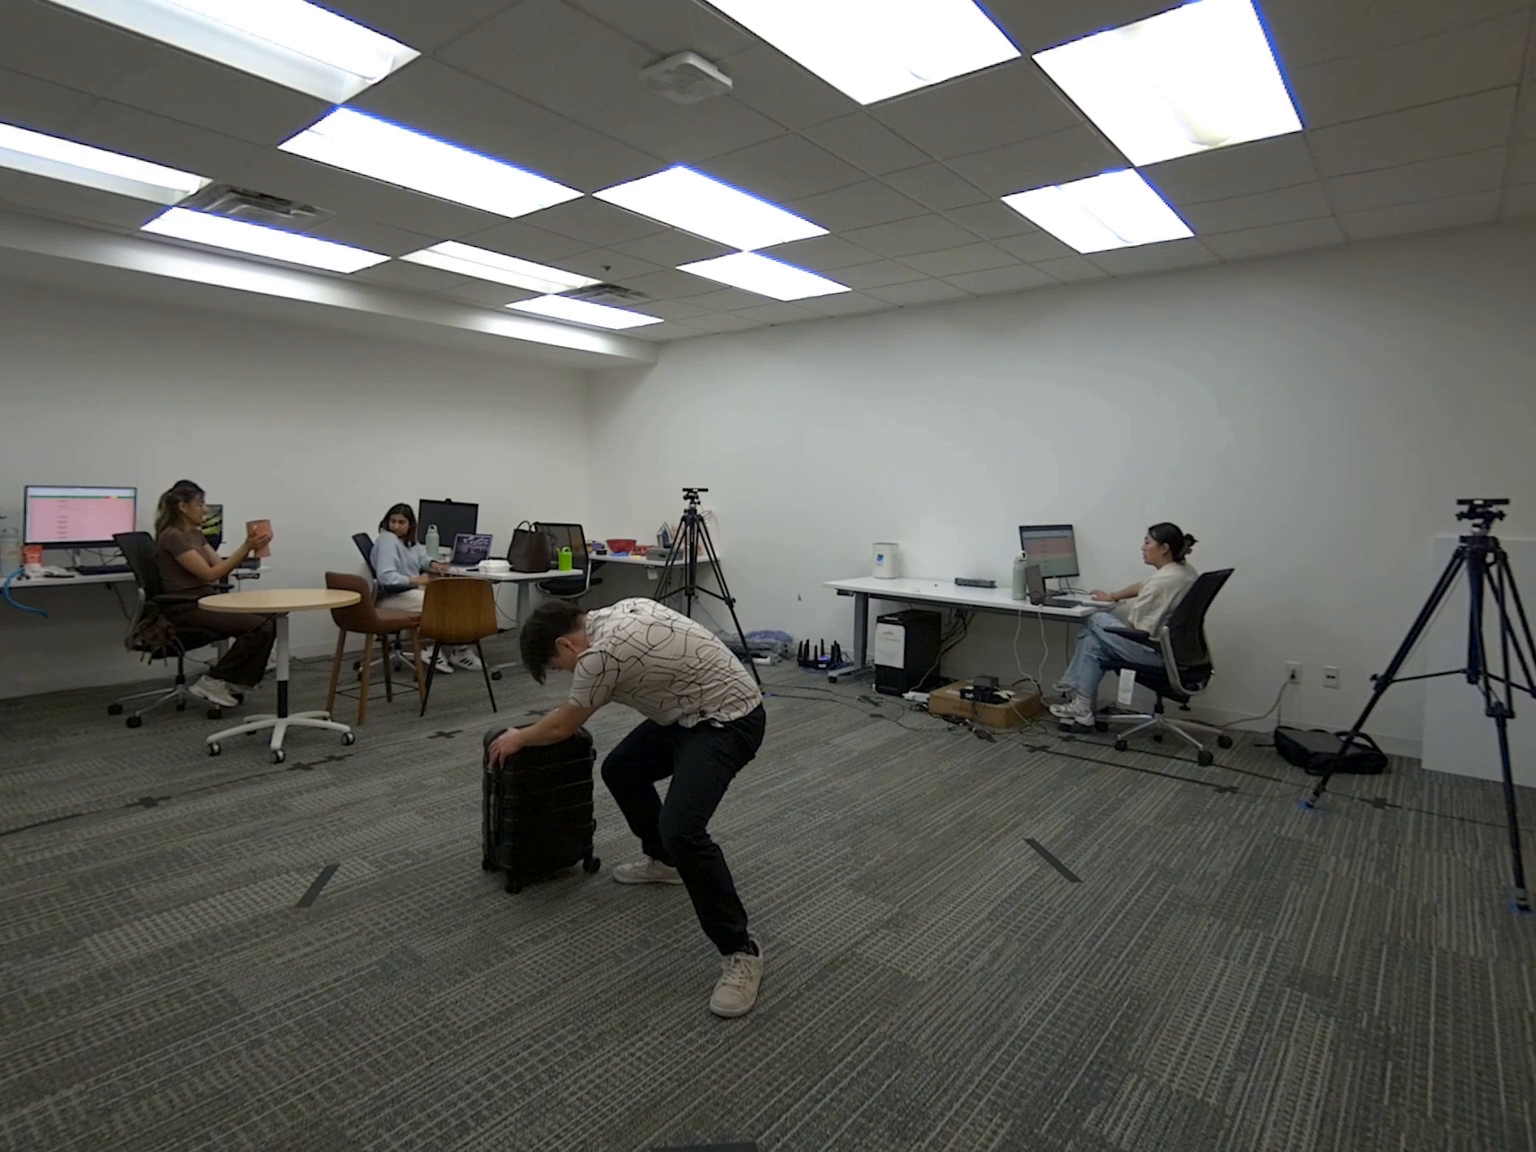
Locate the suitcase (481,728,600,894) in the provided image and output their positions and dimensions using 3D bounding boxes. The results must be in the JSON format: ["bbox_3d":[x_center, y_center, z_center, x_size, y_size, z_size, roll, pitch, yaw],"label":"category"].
[{"bbox_3d":[-0.832,0.793,3.037,0.364,0.547,0.257,-3,6,-37],"label":"suitcase"}]
